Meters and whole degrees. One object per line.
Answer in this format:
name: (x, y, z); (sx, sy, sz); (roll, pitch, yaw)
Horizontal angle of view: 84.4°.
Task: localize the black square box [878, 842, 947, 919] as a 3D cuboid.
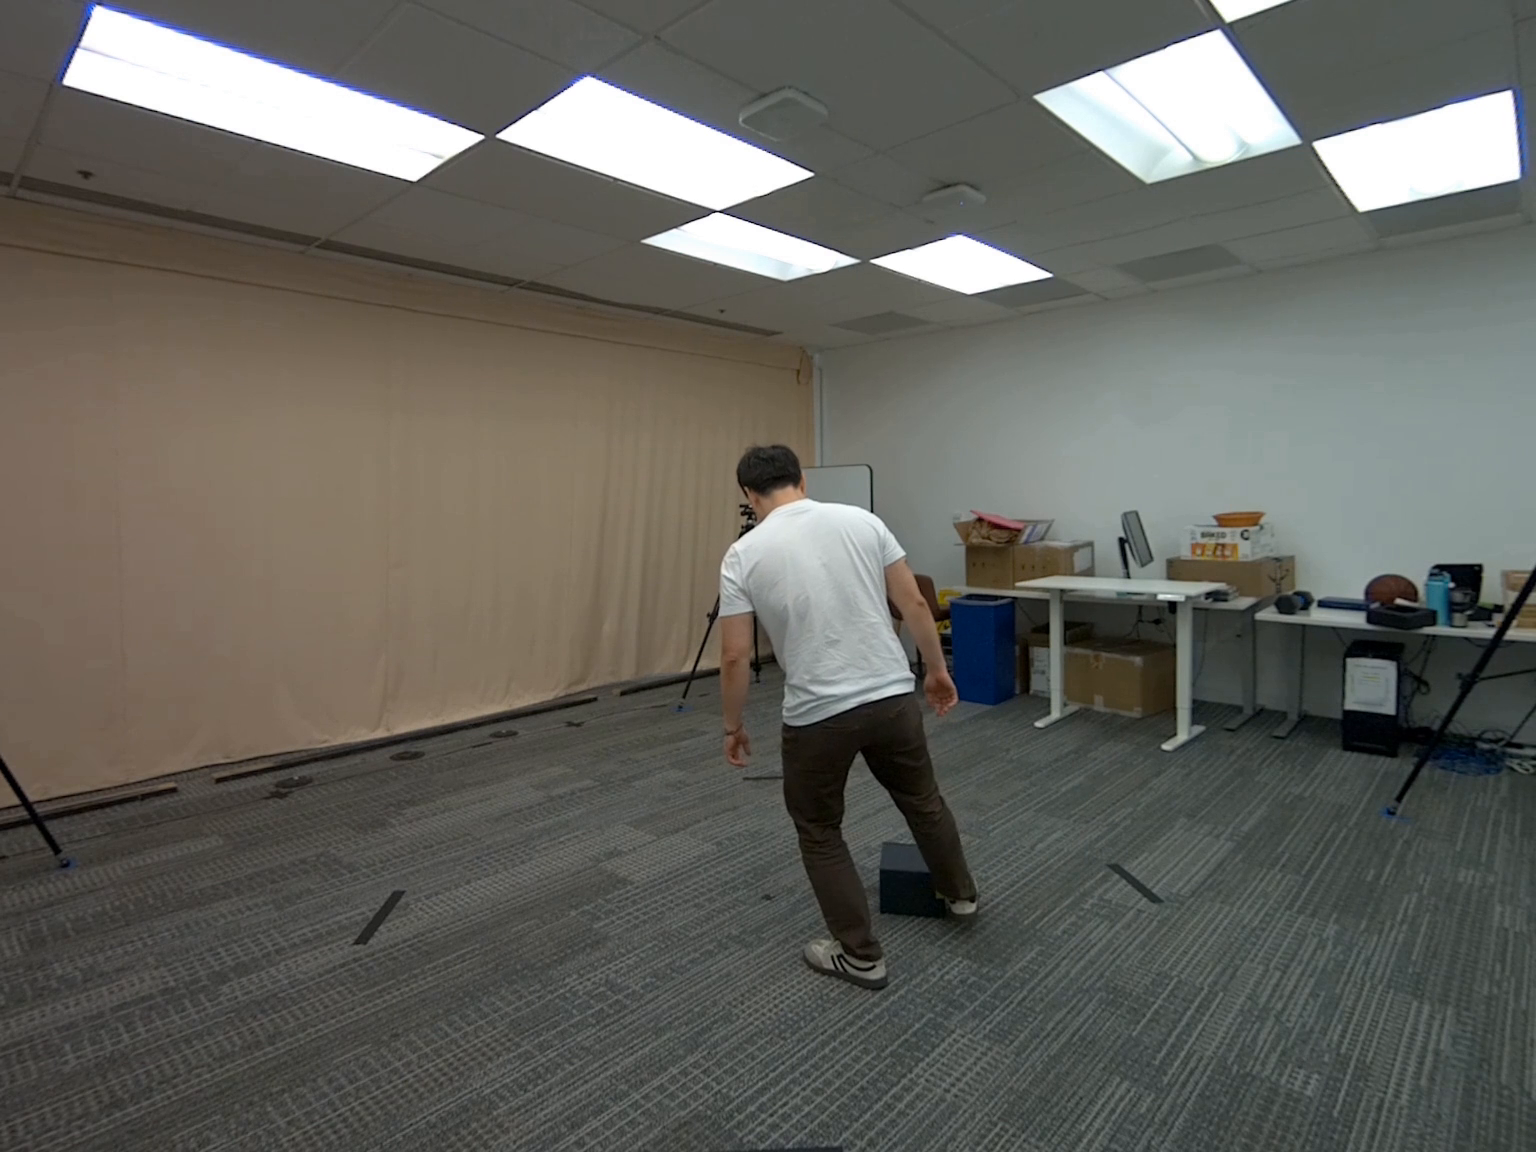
black square box: (0.505, 1.048, 2.930); (0.220, 0.155, 0.225); (0, 5, 12)
